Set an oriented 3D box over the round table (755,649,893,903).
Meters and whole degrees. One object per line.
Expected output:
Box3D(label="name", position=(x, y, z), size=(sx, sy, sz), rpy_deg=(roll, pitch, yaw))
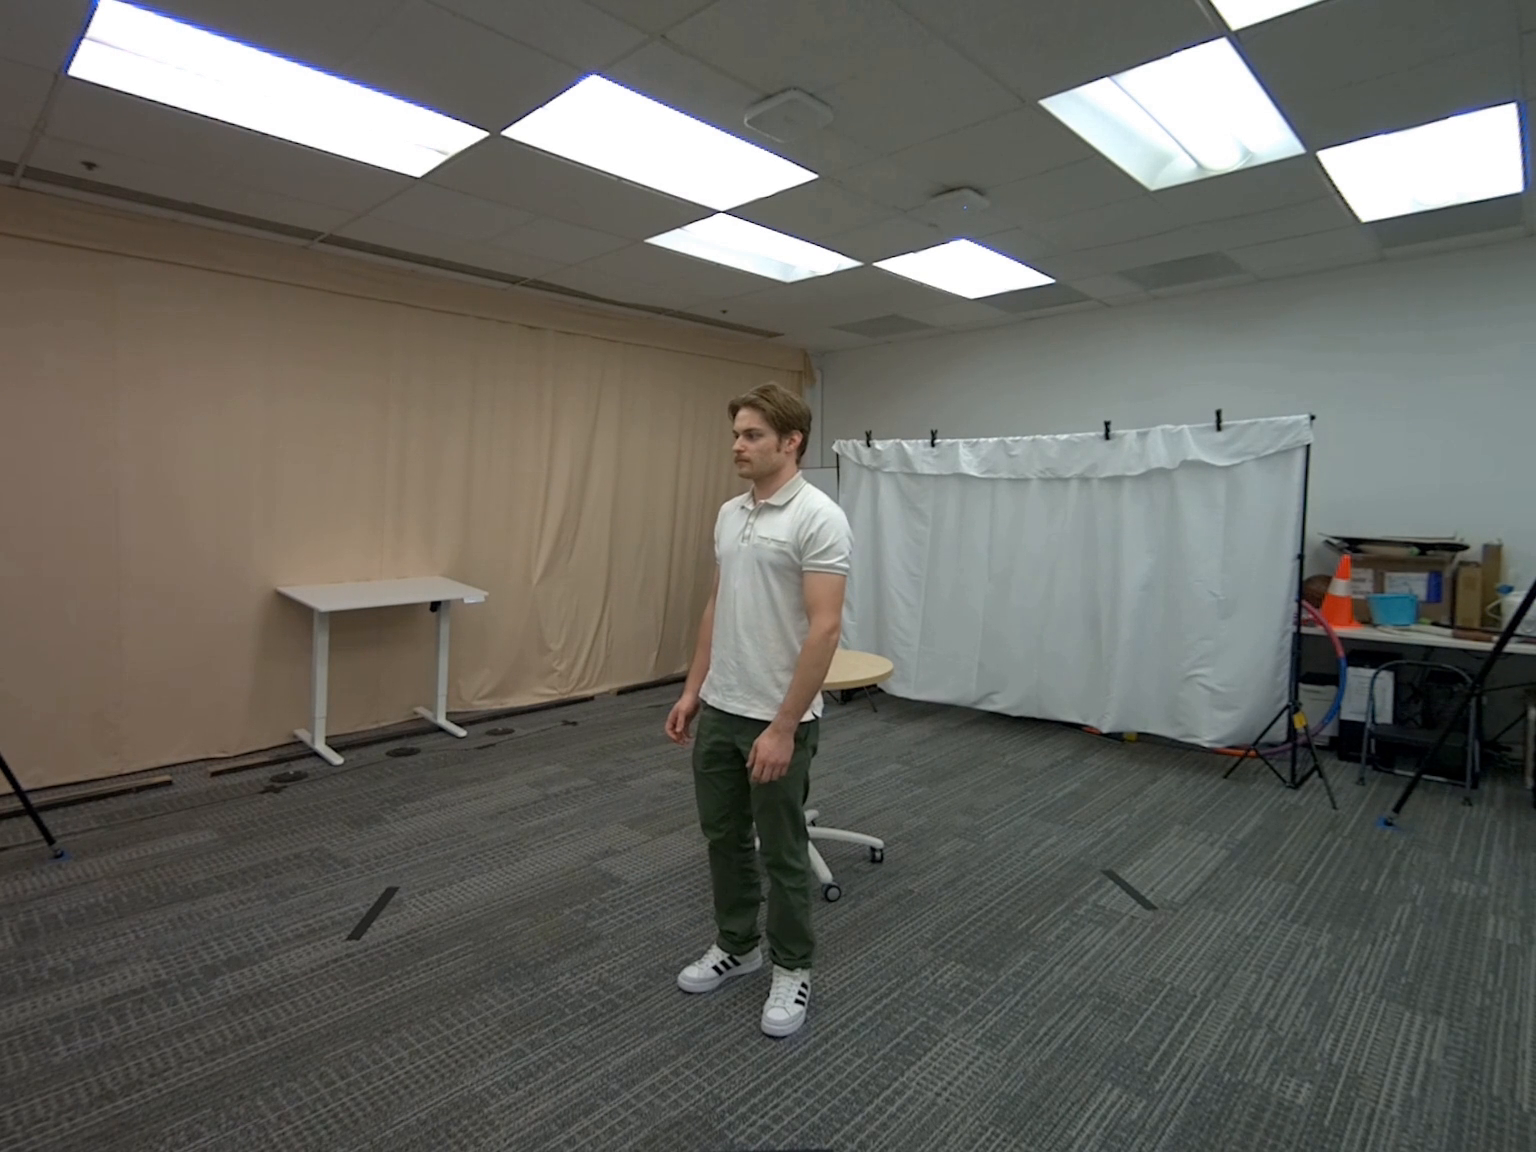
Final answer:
Box3D(label="round table", position=(0.103, 0.729, 3.273), size=(0.763, 0.792, 0.767), rpy_deg=(0, 4, -2))
